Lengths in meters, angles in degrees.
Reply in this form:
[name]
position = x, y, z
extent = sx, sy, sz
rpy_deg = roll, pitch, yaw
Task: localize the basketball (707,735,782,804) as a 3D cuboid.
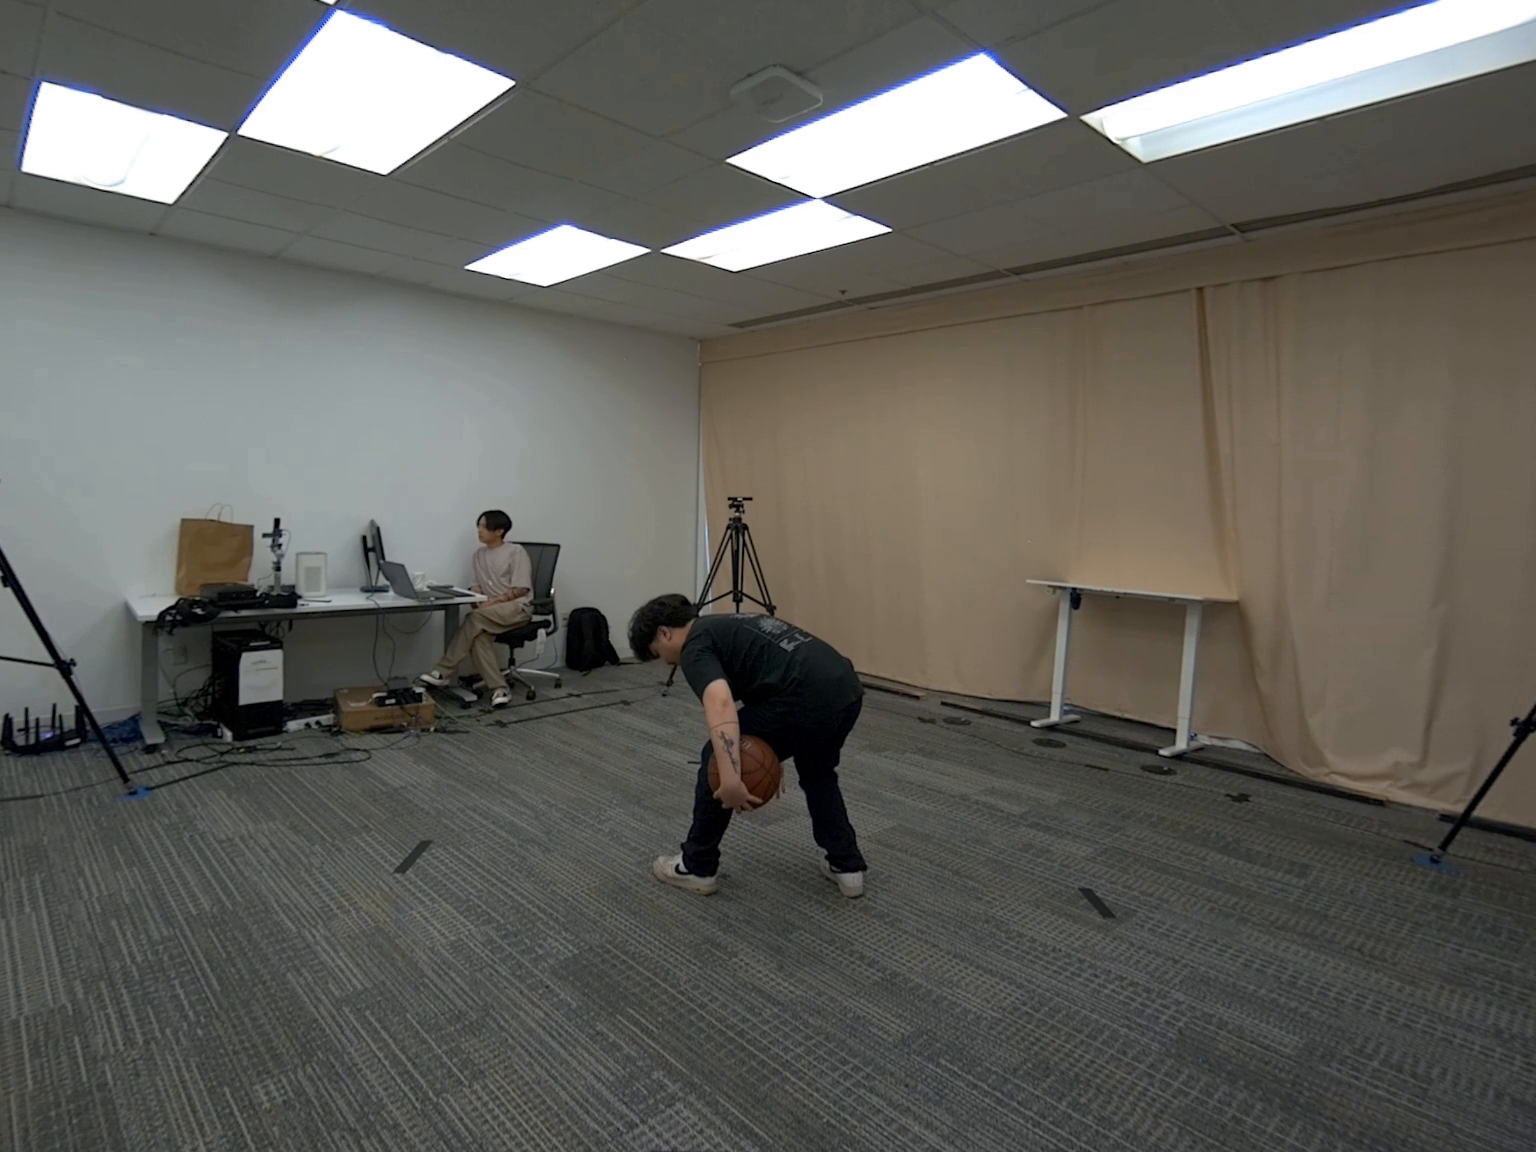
[basketball]
position = -0.084, 0.645, 2.744
extent = 0.236, 0.235, 0.237
rpy_deg = 1, 4, -1
